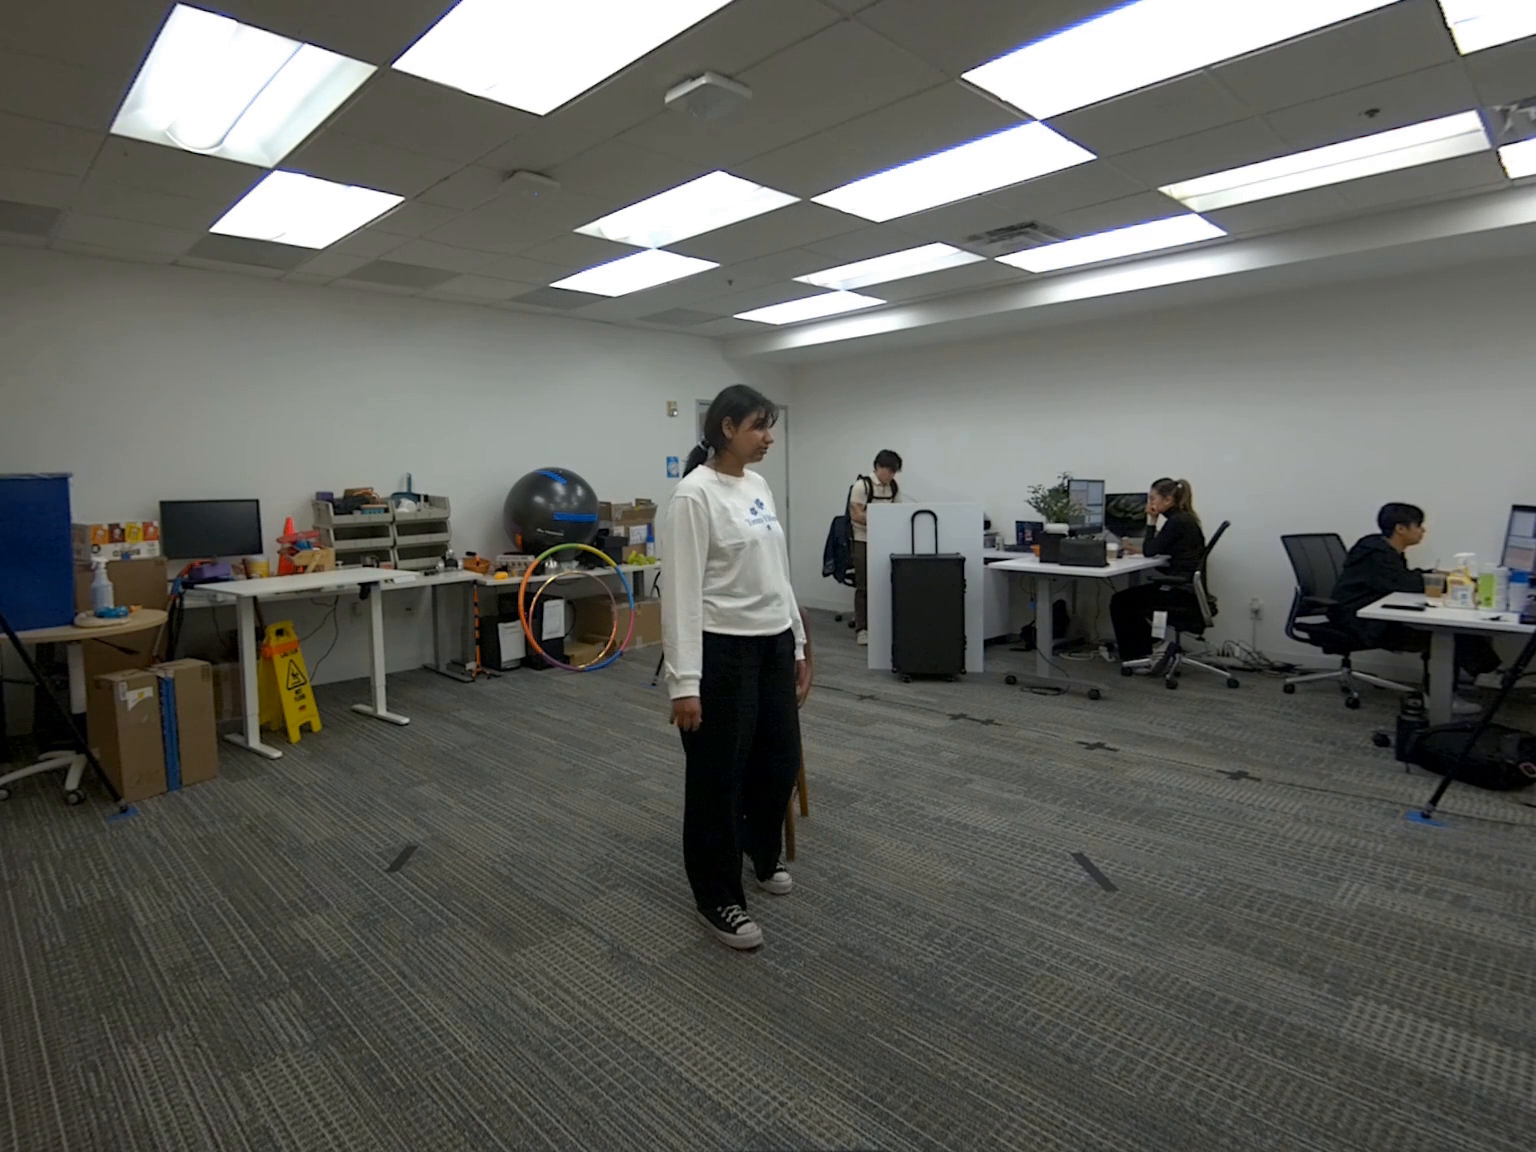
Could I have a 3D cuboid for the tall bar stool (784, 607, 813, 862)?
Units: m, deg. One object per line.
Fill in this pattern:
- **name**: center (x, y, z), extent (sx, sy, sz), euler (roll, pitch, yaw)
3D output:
- **tall bar stool**: center (-0.060, 0.583, 3.367), extent (0.463, 0.888, 0.462), euler (0, 3, 14)
